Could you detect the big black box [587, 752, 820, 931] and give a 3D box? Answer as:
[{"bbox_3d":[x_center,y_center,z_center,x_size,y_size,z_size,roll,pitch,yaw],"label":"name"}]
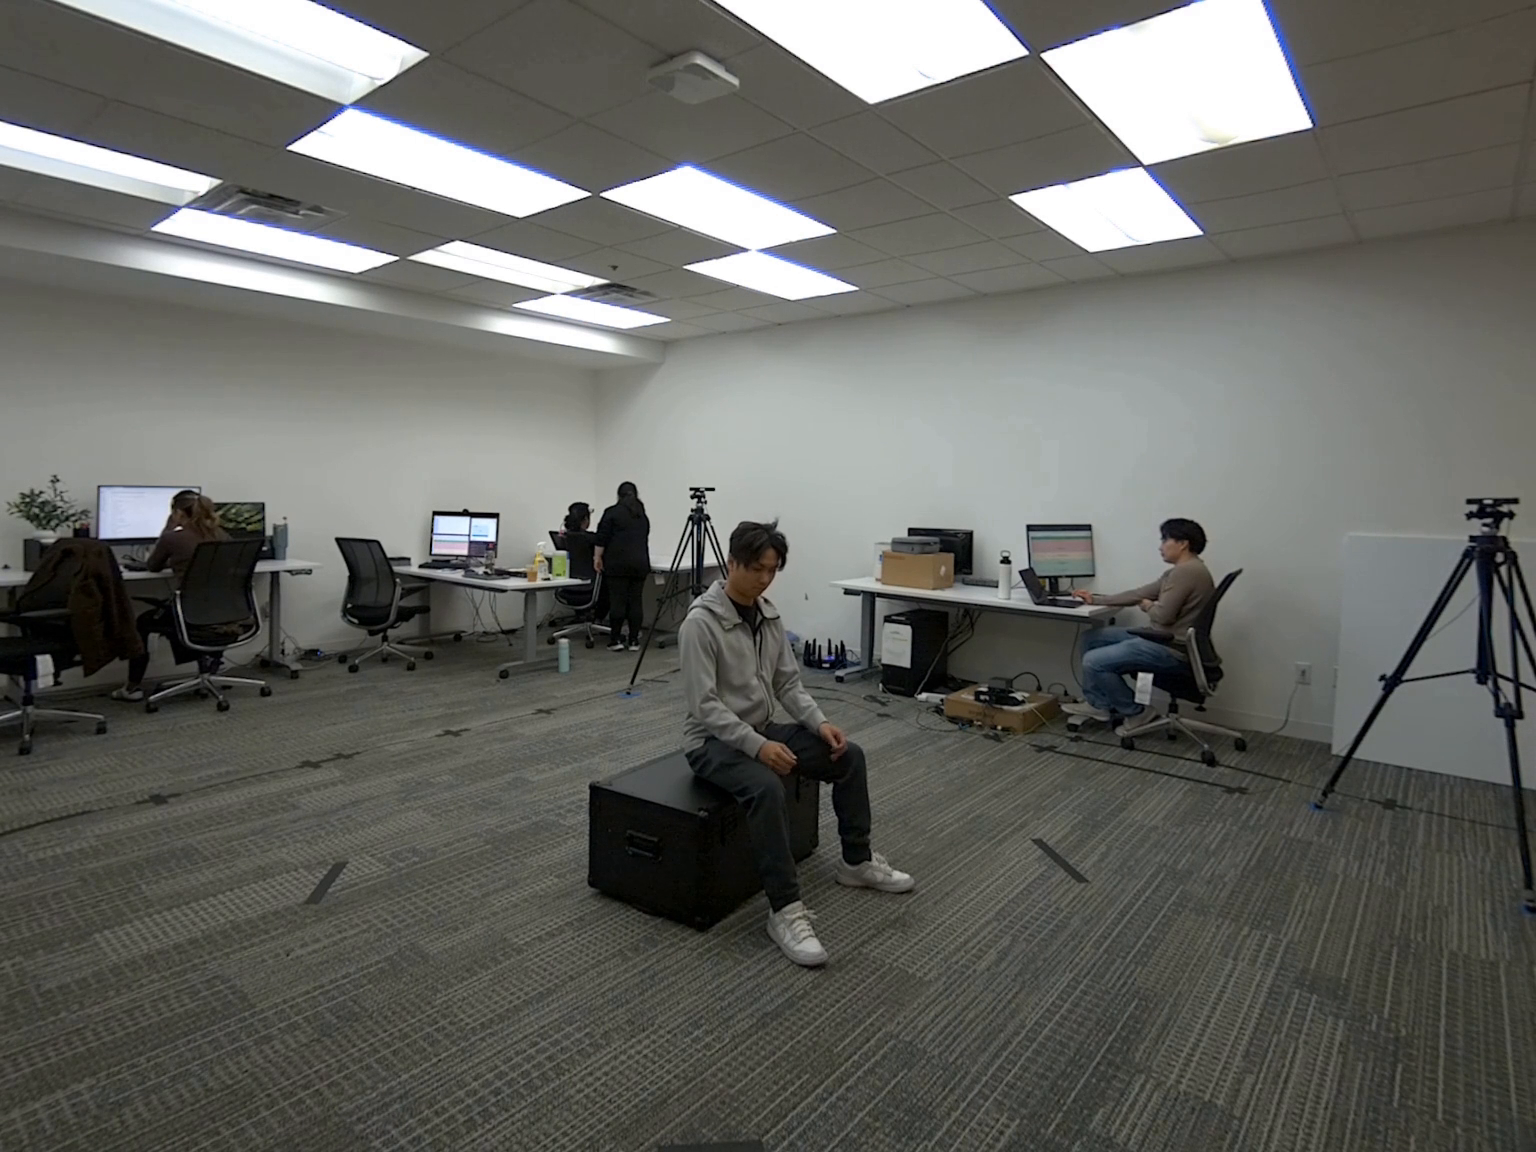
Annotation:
[{"bbox_3d":[-0.239,0.887,3.059,0.537,0.395,0.838,4,6,32],"label":"big black box"}]
